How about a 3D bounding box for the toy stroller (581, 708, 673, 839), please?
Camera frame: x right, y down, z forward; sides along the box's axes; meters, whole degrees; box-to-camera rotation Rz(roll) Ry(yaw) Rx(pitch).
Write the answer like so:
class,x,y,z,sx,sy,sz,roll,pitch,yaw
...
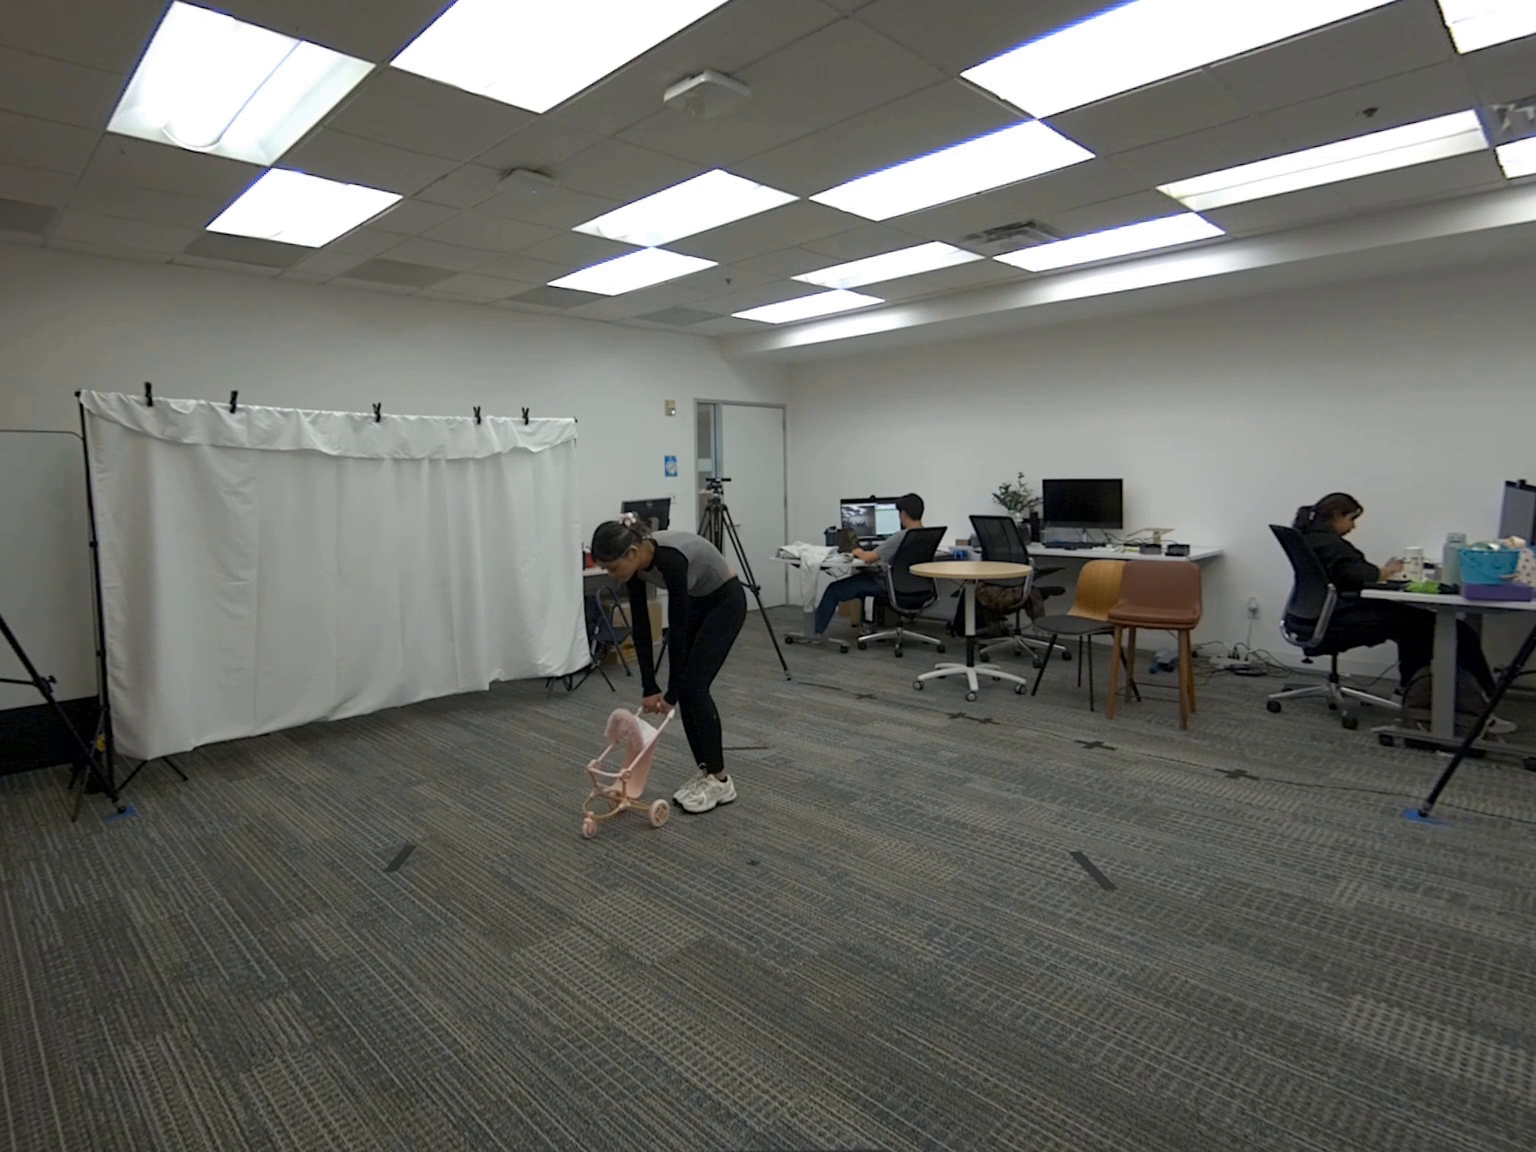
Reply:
class,x,y,z,sx,sy,sz,roll,pitch,yaw
toy stroller,-0.594,0.780,3.461,0.330,0.537,0.290,12,-7,-44
